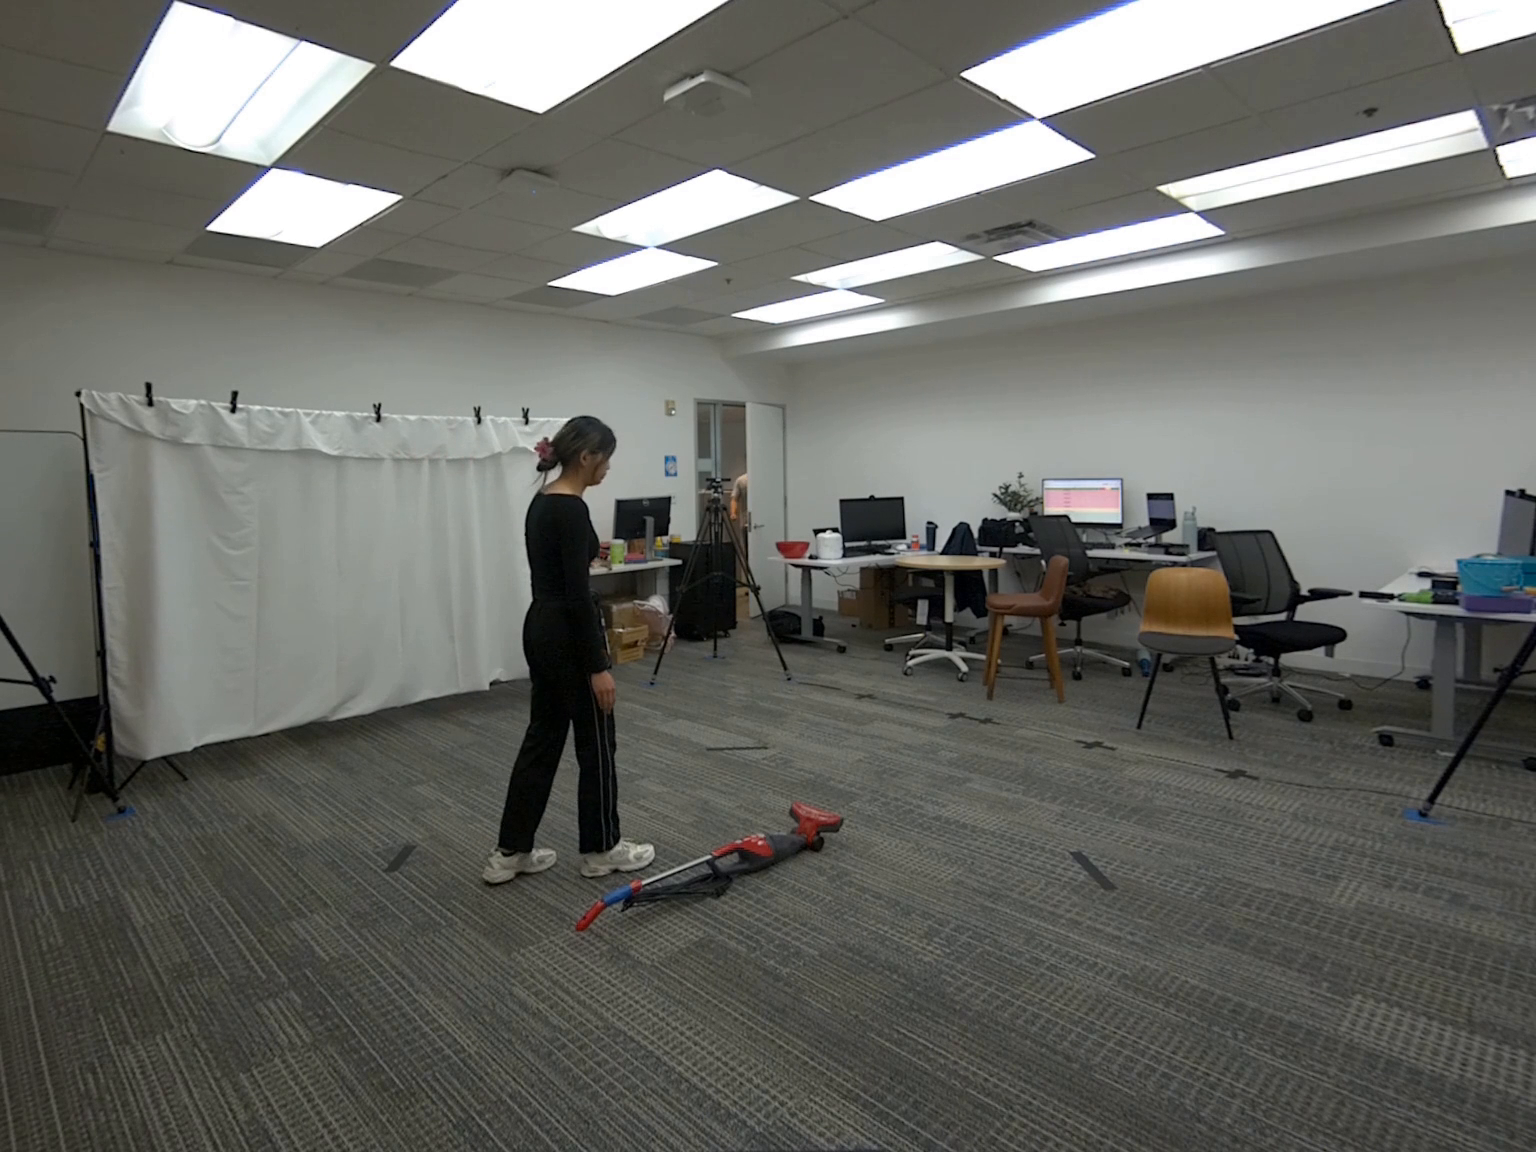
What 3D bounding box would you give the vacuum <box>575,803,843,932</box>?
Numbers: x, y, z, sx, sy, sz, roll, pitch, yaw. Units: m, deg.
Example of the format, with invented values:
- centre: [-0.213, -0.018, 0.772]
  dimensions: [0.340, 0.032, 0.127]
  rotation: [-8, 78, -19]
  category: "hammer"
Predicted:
- centre: [-0.193, 1.009, 2.918]
  dimensions: [1.023, 0.143, 0.260]
  rotation: [-8, 7, -43]
  category: "vacuum"
